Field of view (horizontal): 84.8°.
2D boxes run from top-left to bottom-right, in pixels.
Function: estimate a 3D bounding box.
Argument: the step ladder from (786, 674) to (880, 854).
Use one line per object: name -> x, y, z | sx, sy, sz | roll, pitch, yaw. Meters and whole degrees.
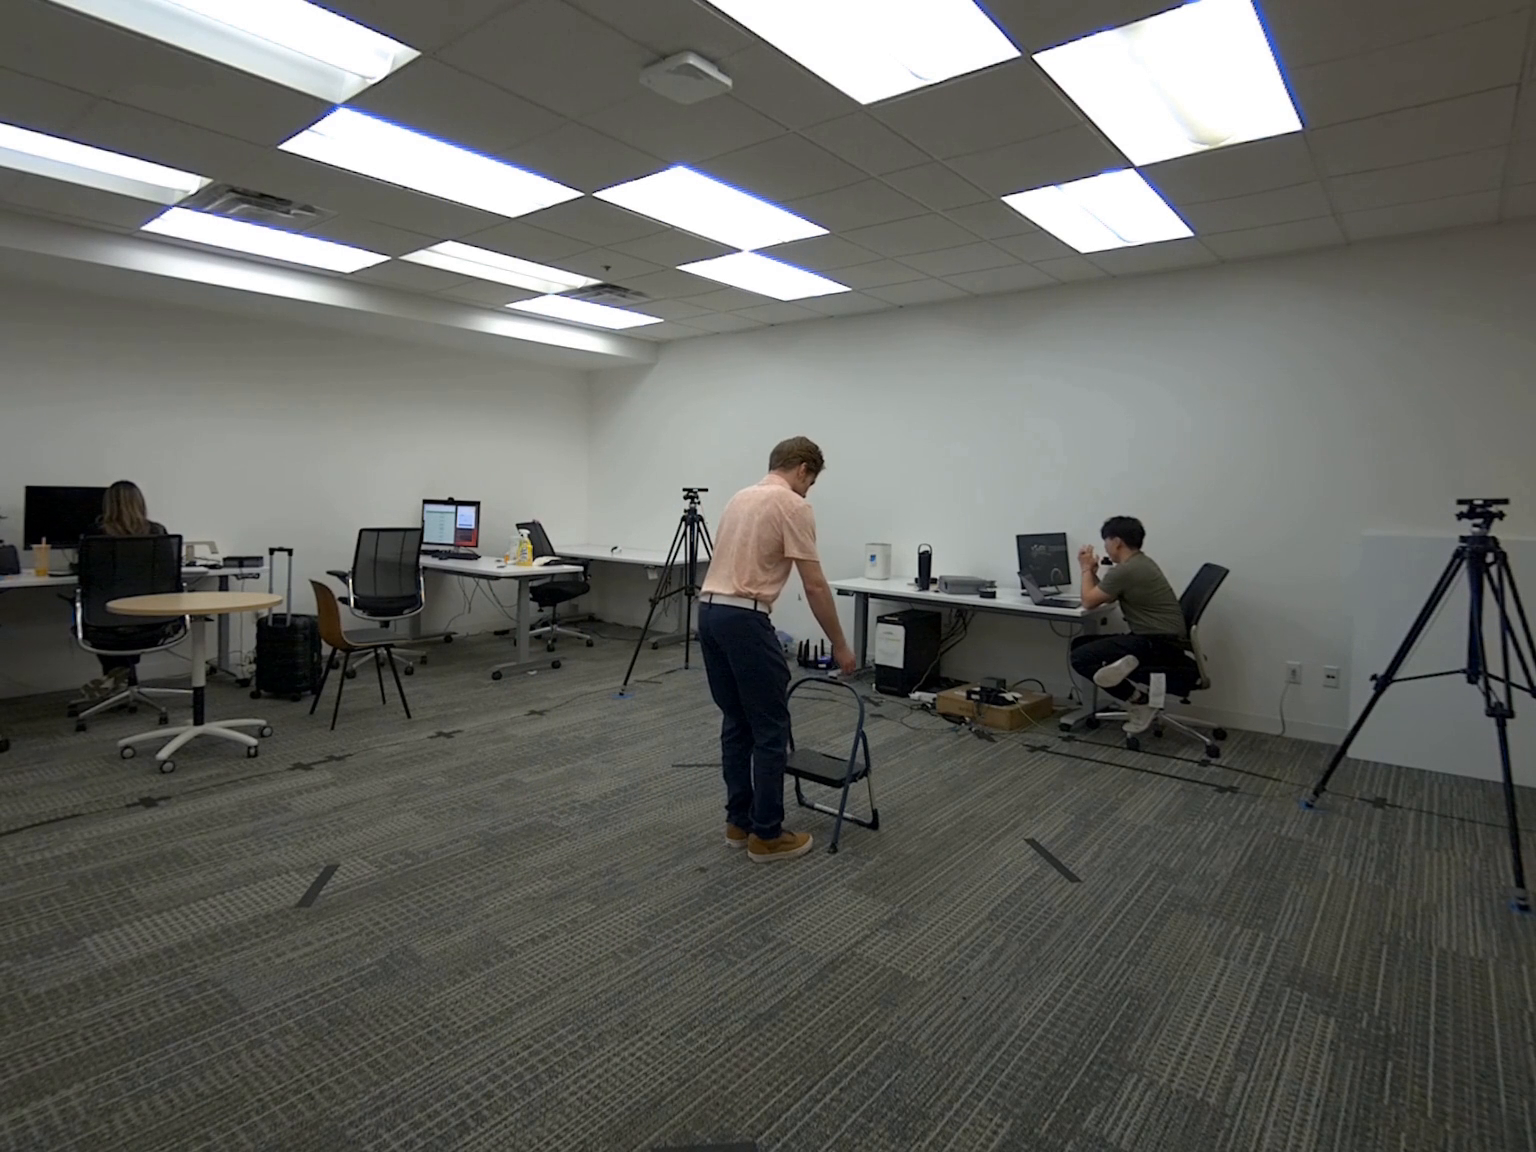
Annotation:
step ladder -> 0.198, 0.743, 3.524 | 0.445, 0.604, 0.339 | 5, 5, 39
